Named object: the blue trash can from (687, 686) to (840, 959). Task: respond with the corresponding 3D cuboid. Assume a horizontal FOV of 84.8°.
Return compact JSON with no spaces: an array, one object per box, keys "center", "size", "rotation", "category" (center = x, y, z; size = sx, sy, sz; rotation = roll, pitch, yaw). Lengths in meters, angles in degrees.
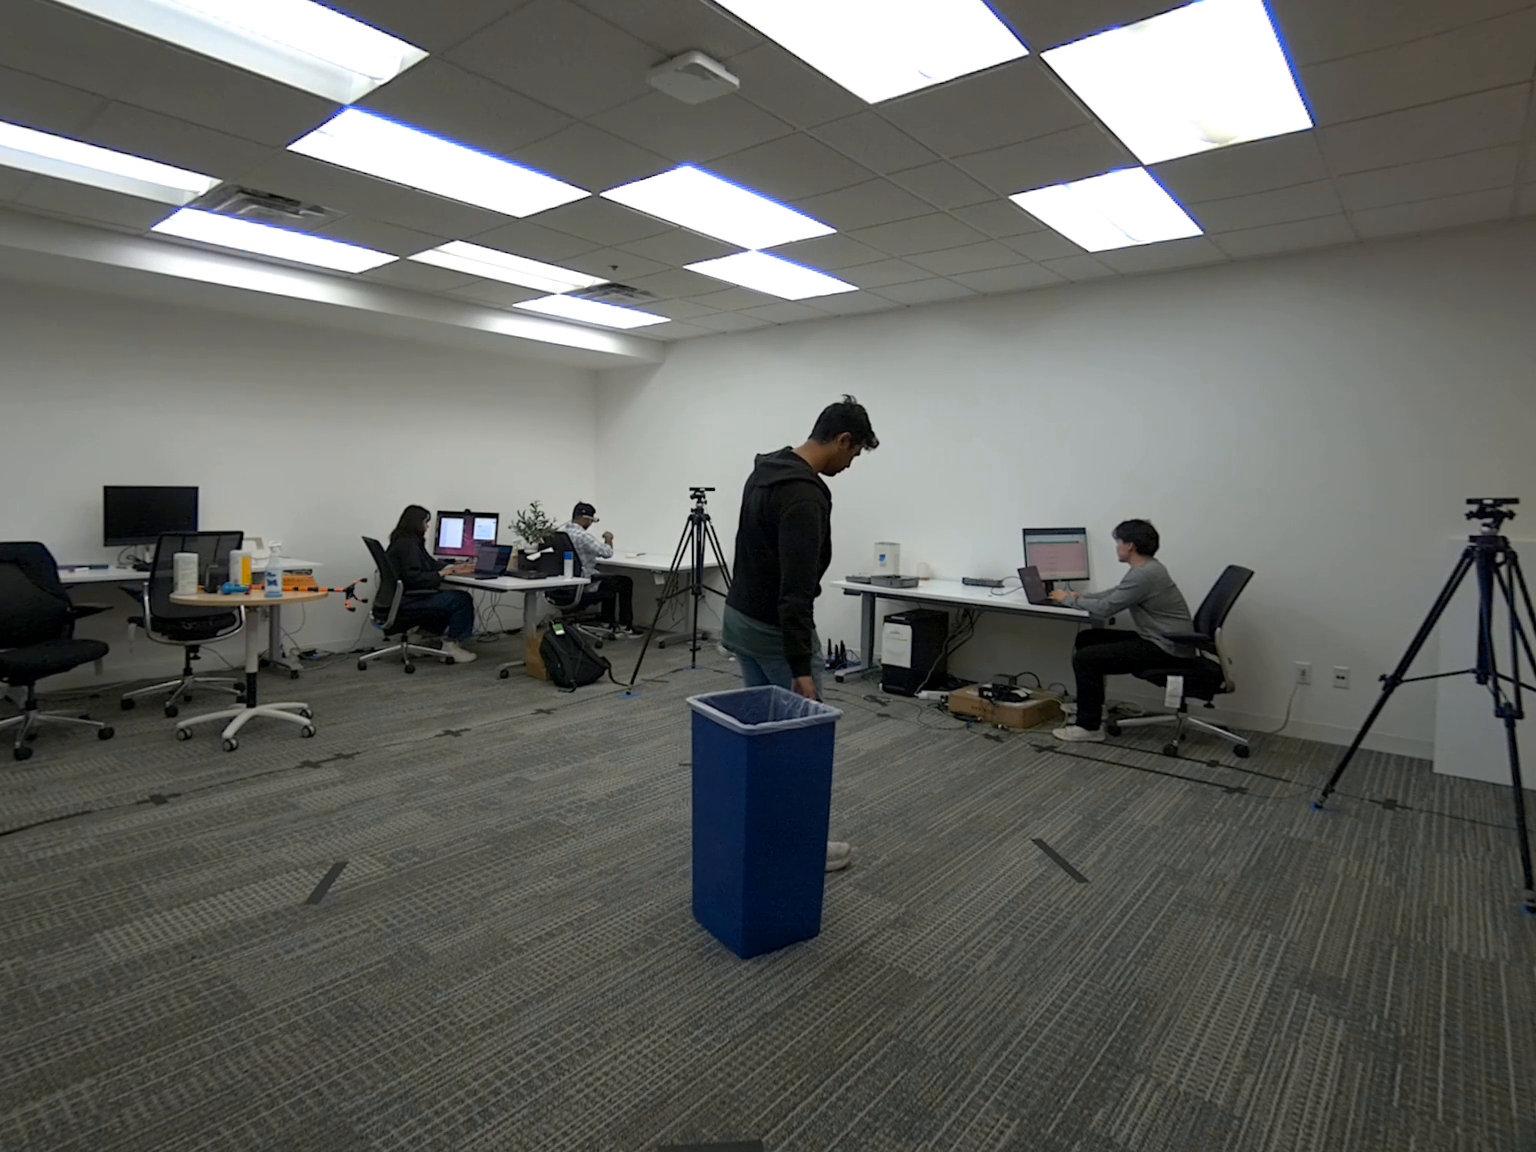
[{"center":[-0.043,0.751,2.683],"size":[0.367,0.711,0.387],"rotation":[-1,6,-35],"category":"blue trash can"}]
